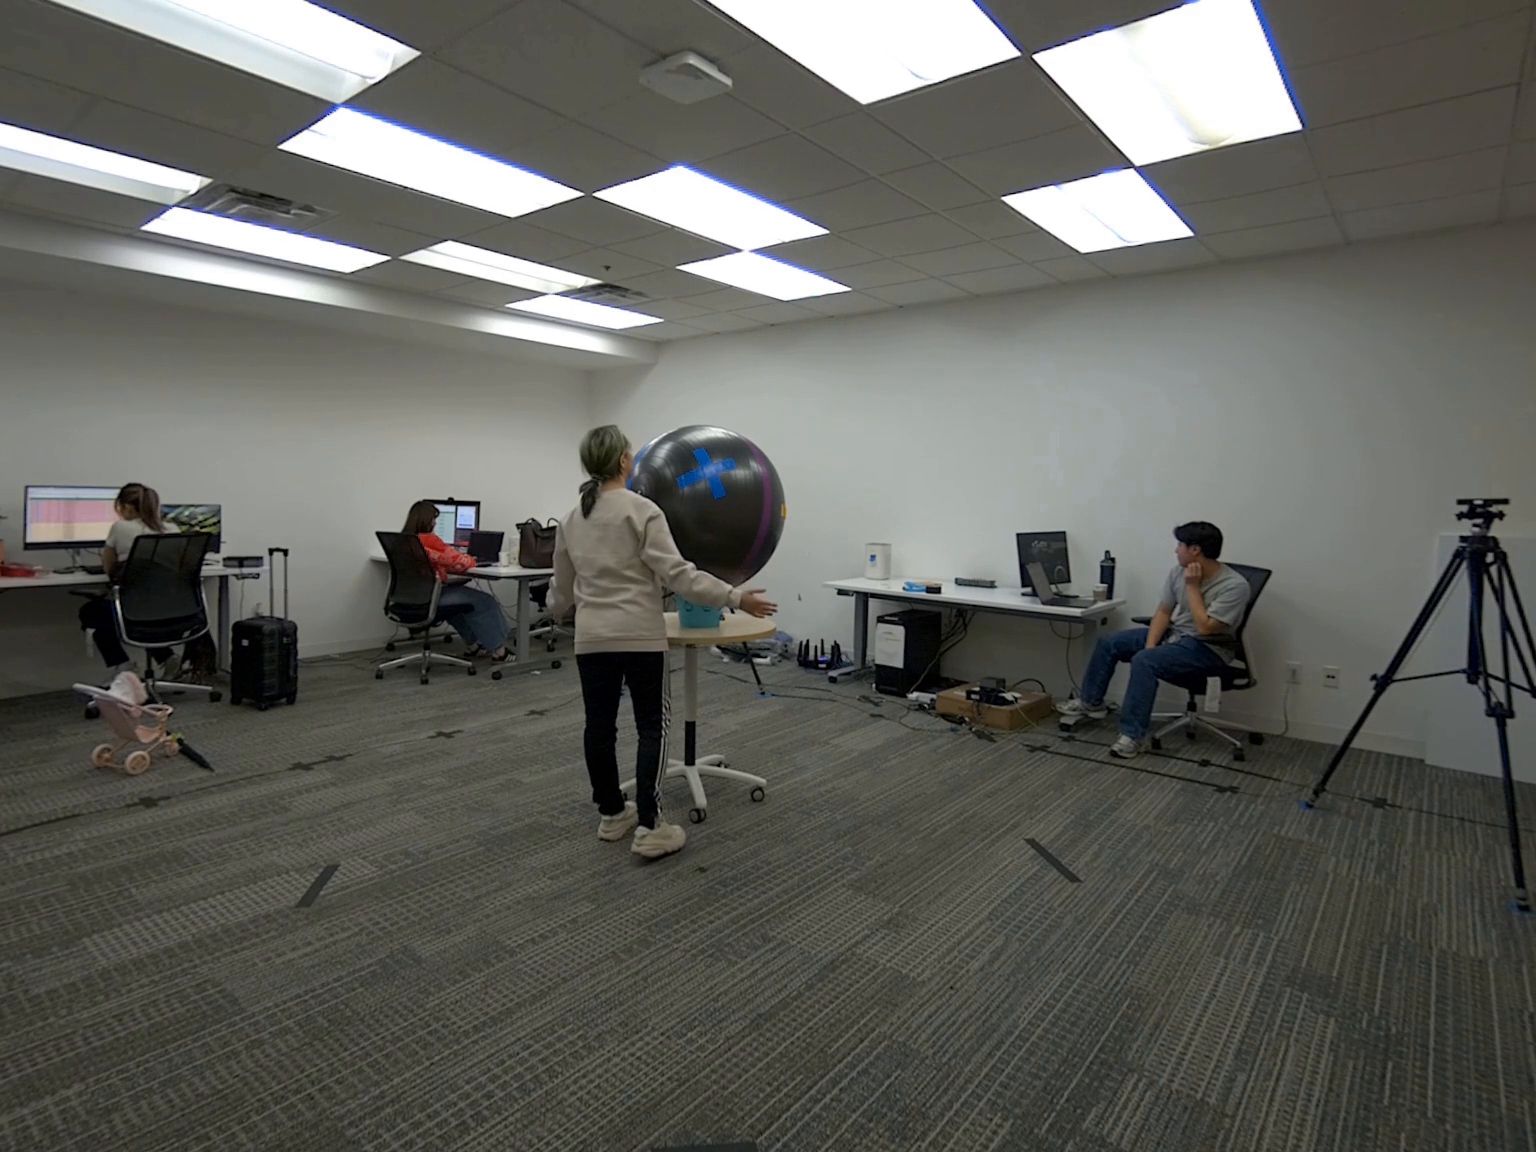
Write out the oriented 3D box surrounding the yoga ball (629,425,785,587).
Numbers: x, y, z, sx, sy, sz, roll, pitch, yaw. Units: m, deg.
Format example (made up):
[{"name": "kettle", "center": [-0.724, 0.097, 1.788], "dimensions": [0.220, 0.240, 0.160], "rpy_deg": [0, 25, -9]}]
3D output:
[{"name": "yoga ball", "center": [-0.304, -0.294, 3.798], "dimensions": [0.757, 0.756, 0.762], "rpy_deg": [1, 4, -2]}]
